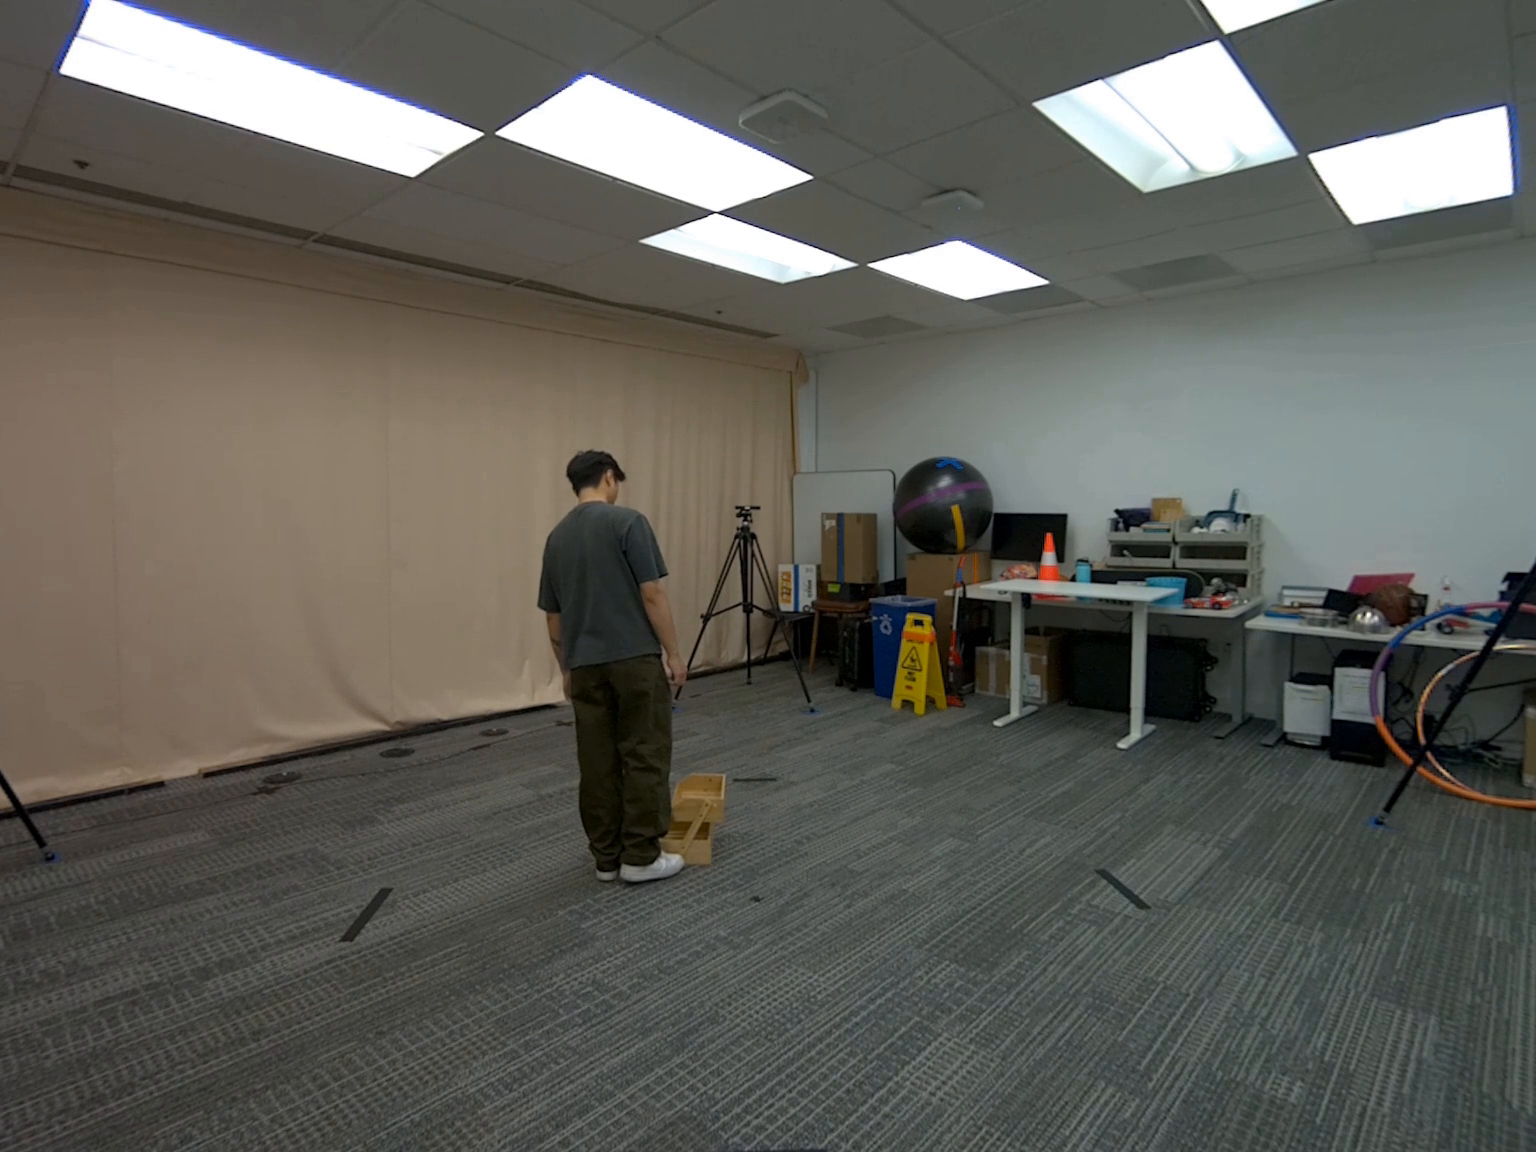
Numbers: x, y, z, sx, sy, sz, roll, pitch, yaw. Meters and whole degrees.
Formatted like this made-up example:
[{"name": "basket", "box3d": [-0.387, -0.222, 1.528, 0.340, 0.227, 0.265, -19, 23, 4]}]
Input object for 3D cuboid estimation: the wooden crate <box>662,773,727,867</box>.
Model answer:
[{"name": "wooden crate", "box3d": [-0.331, 0.977, 3.418, 0.302, 0.273, 0.325, 0, 4, 1]}]
